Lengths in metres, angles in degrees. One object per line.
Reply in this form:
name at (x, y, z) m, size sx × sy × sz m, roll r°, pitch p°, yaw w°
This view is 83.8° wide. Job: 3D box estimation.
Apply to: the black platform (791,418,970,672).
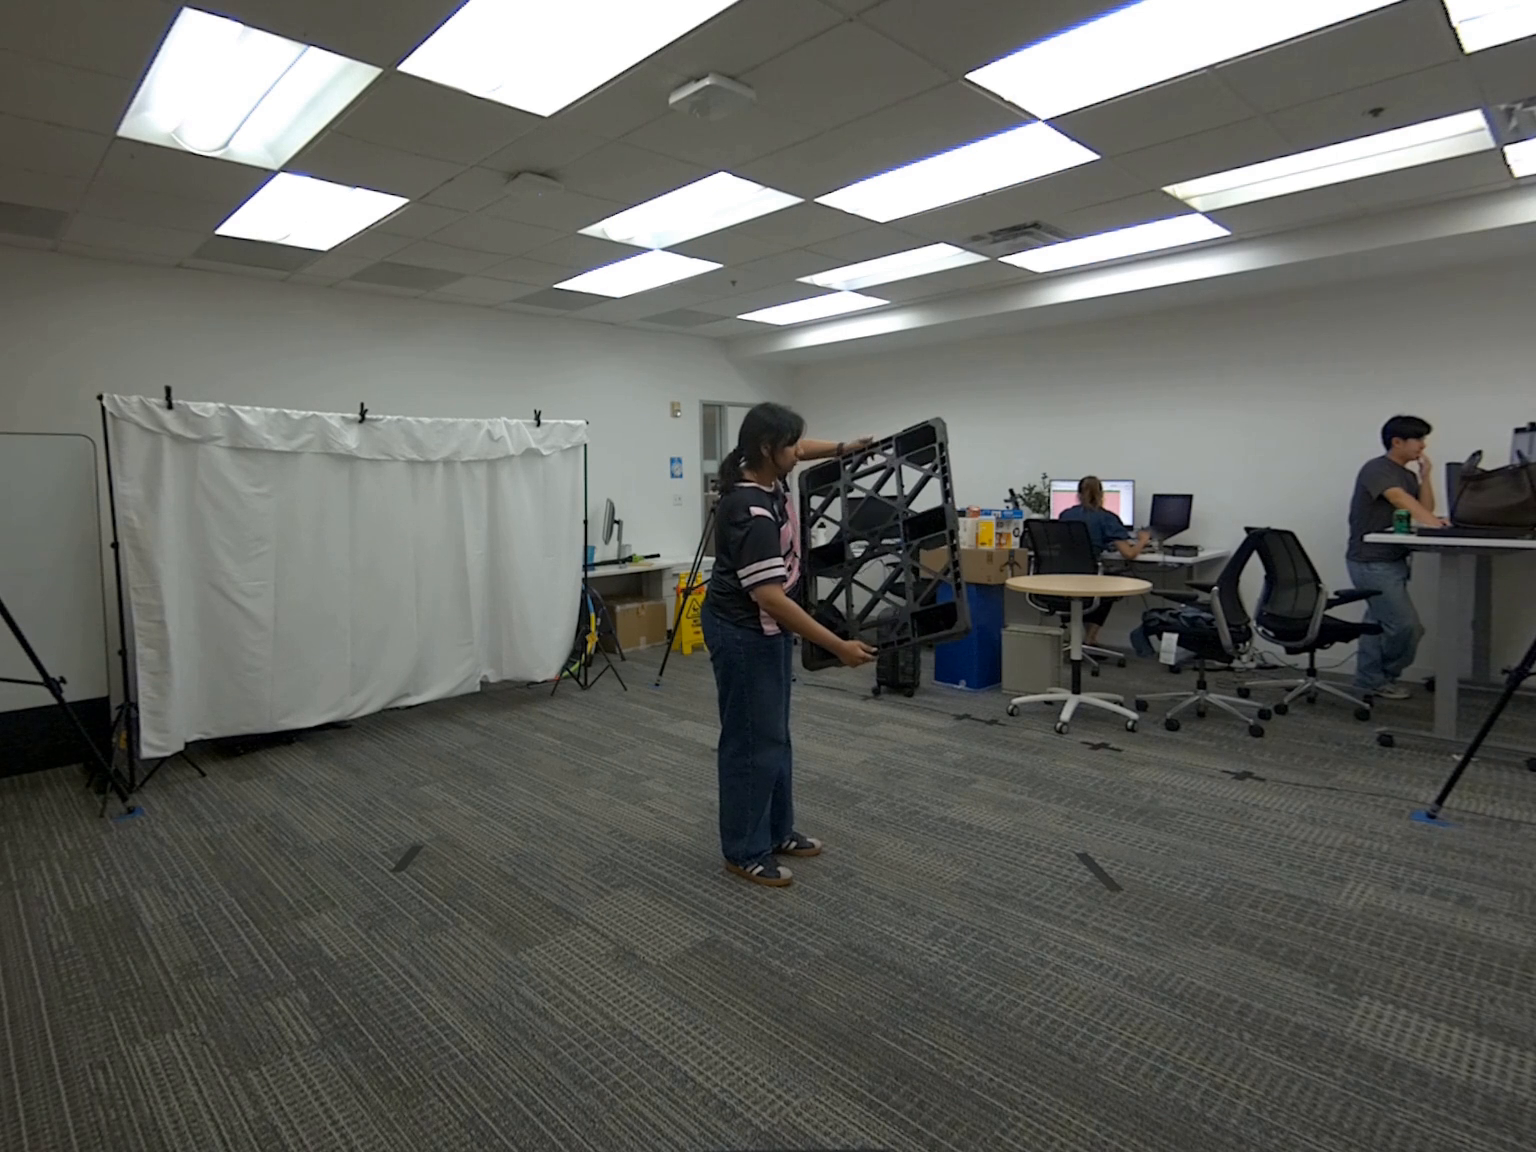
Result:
black platform at (0.391, -0.091, 2.958) m, size 0.615 × 0.824 × 0.138 m, roll -20°, pitch -34°, yaw 33°
